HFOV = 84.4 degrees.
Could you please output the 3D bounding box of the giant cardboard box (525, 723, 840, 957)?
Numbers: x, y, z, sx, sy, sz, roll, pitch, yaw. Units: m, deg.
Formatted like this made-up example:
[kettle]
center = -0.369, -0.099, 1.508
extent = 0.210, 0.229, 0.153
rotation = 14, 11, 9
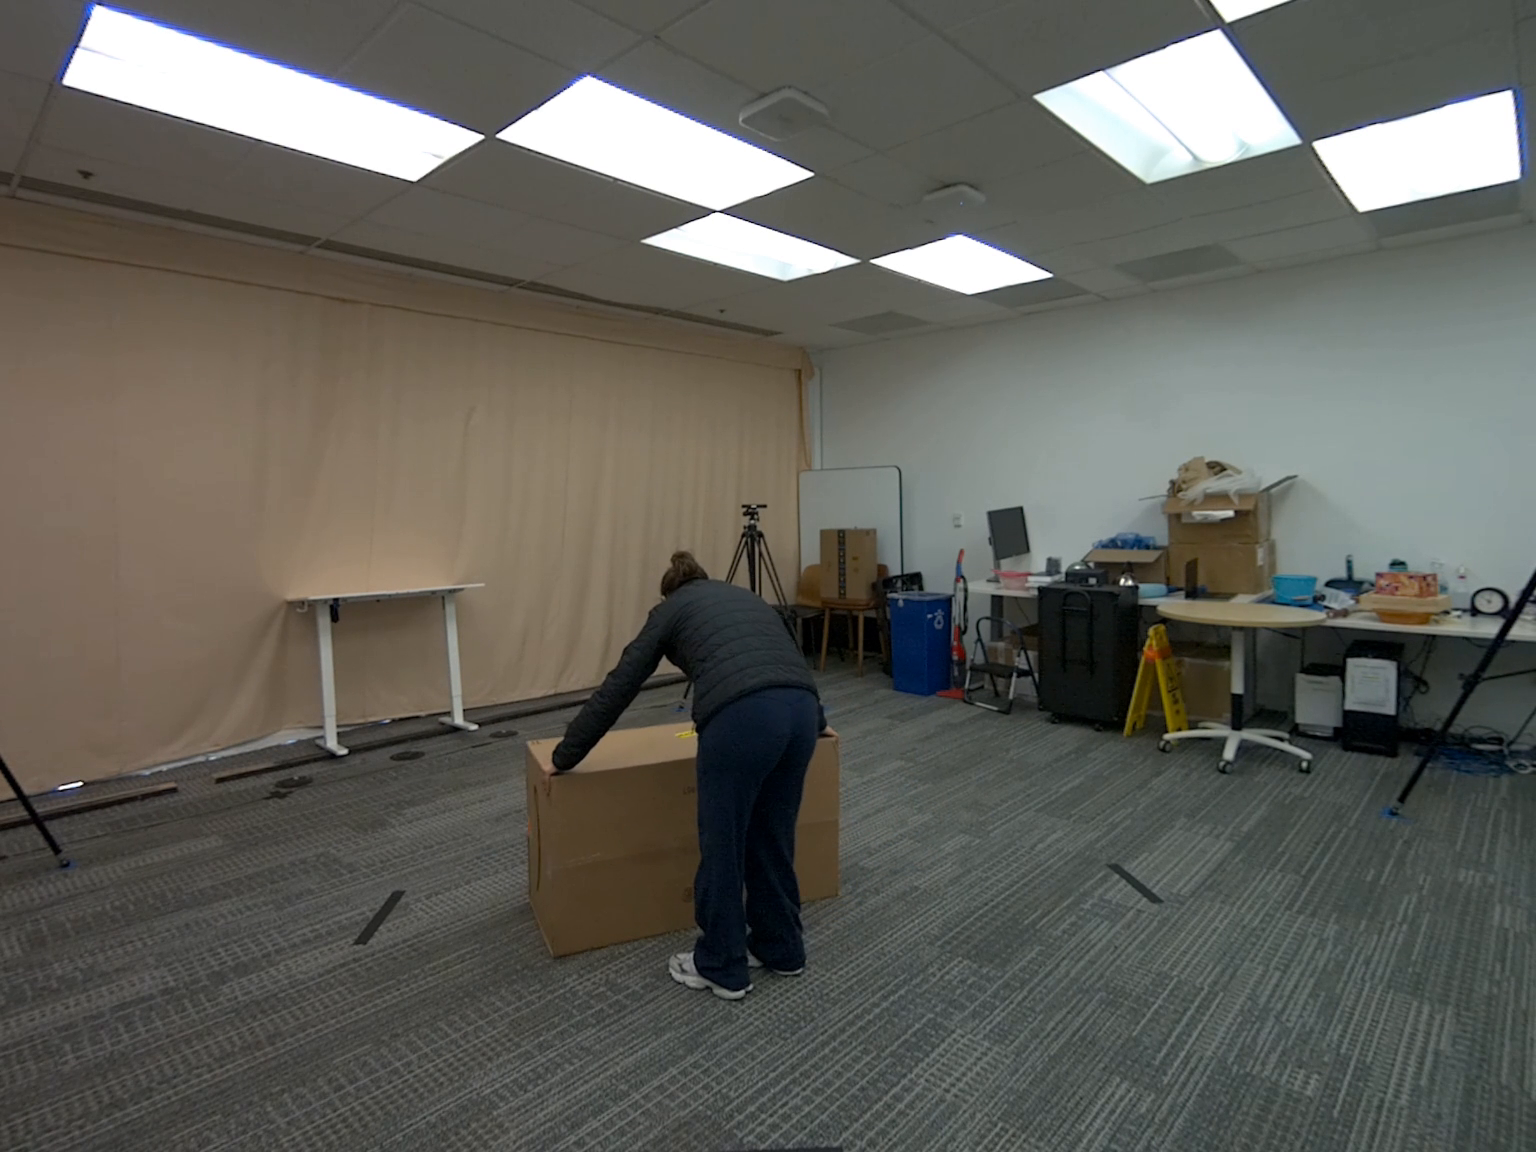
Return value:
[giant cardboard box]
center = -0.282, 0.856, 2.975
extent = 1.004, 0.583, 0.458
rotation = -2, 3, -24
